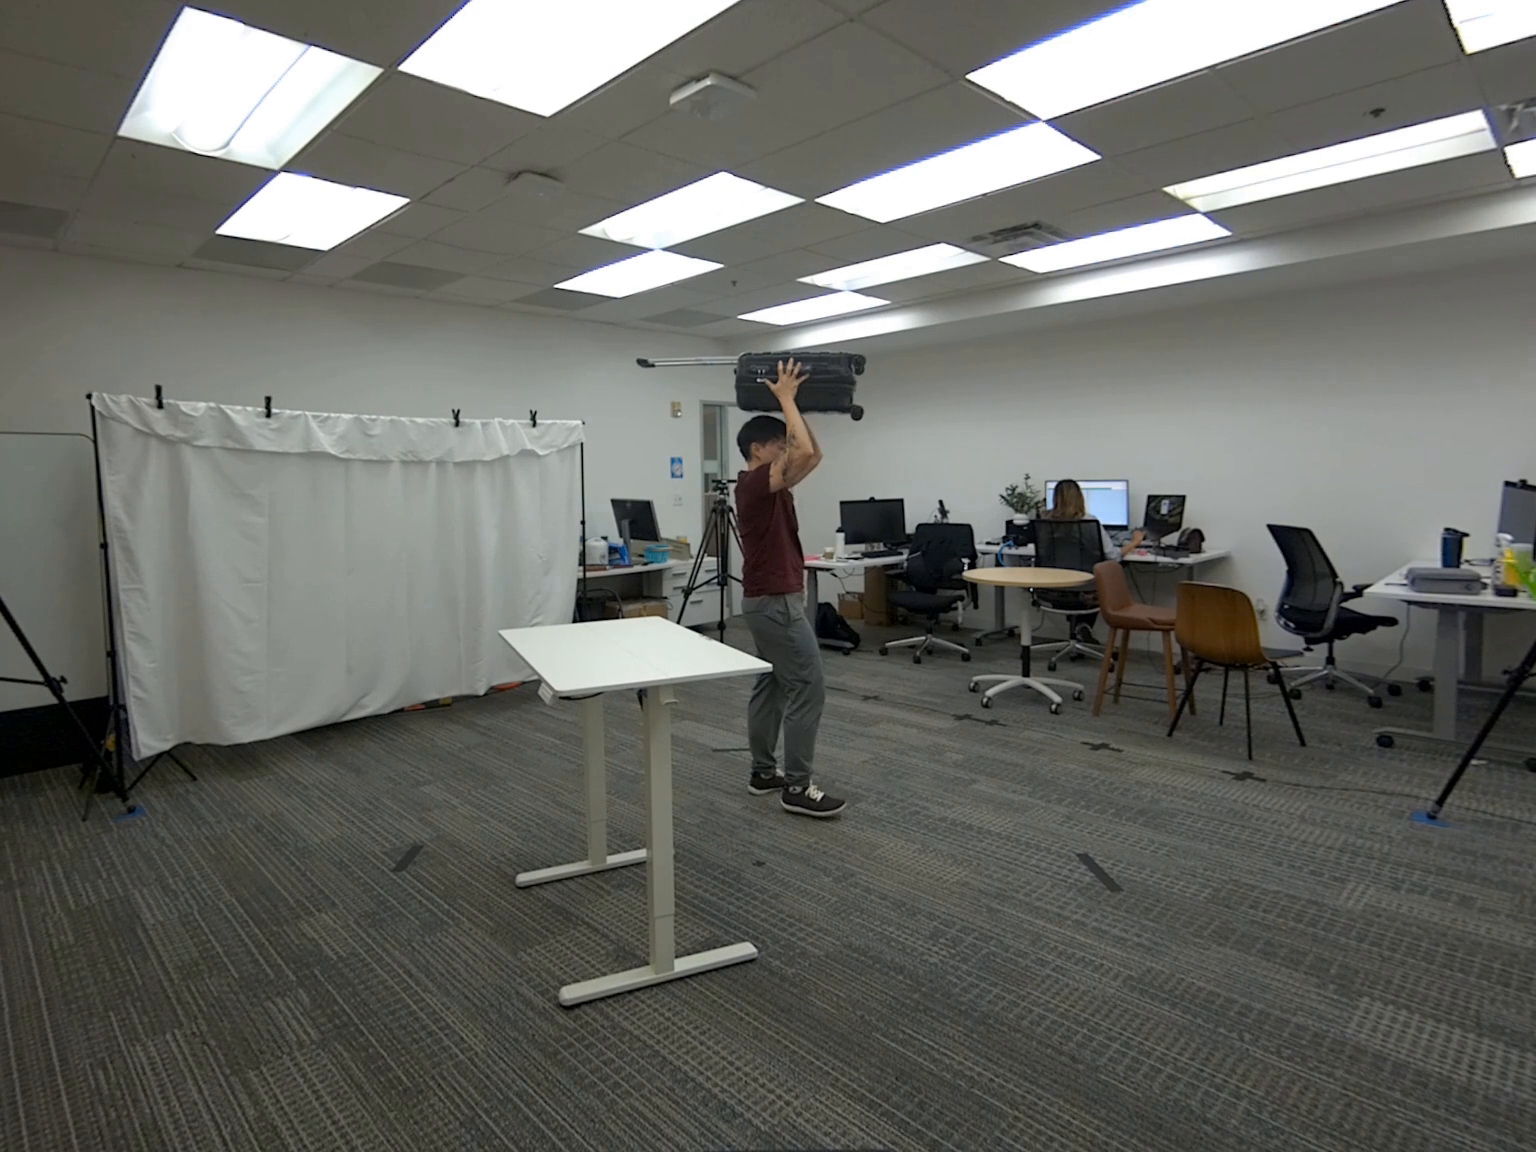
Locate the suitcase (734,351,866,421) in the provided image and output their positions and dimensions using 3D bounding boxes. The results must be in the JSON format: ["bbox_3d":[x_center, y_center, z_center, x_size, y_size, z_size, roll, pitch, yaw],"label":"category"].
[{"bbox_3d":[-0.068,-0.833,3.708,0.986,0.256,0.382,1,5,7],"label":"suitcase"}]
